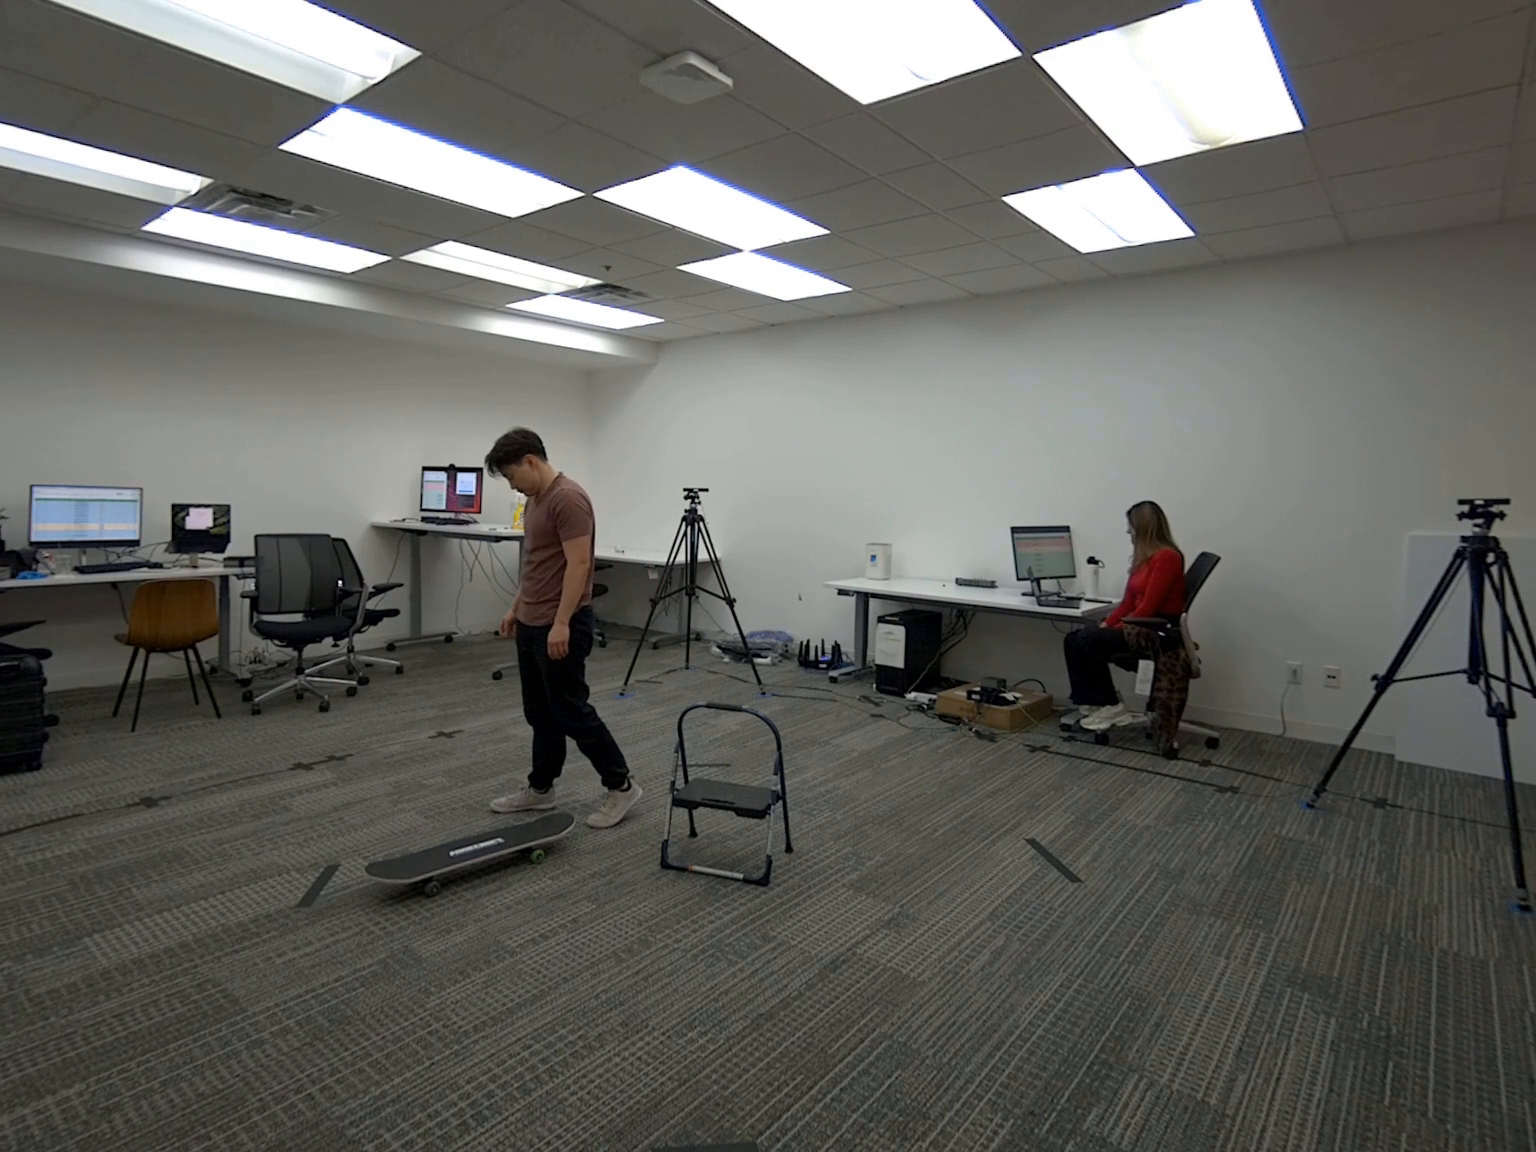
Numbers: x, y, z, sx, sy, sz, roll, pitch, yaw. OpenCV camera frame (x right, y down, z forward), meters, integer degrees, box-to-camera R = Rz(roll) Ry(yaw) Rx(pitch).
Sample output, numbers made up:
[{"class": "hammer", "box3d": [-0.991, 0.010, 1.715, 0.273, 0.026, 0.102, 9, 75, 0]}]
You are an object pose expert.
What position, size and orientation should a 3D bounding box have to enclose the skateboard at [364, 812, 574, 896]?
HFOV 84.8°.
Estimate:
[{"class": "skateboard", "box3d": [-1.061, 1.011, 3.070, 0.762, 0.110, 0.200, -5, 7, -42]}]
